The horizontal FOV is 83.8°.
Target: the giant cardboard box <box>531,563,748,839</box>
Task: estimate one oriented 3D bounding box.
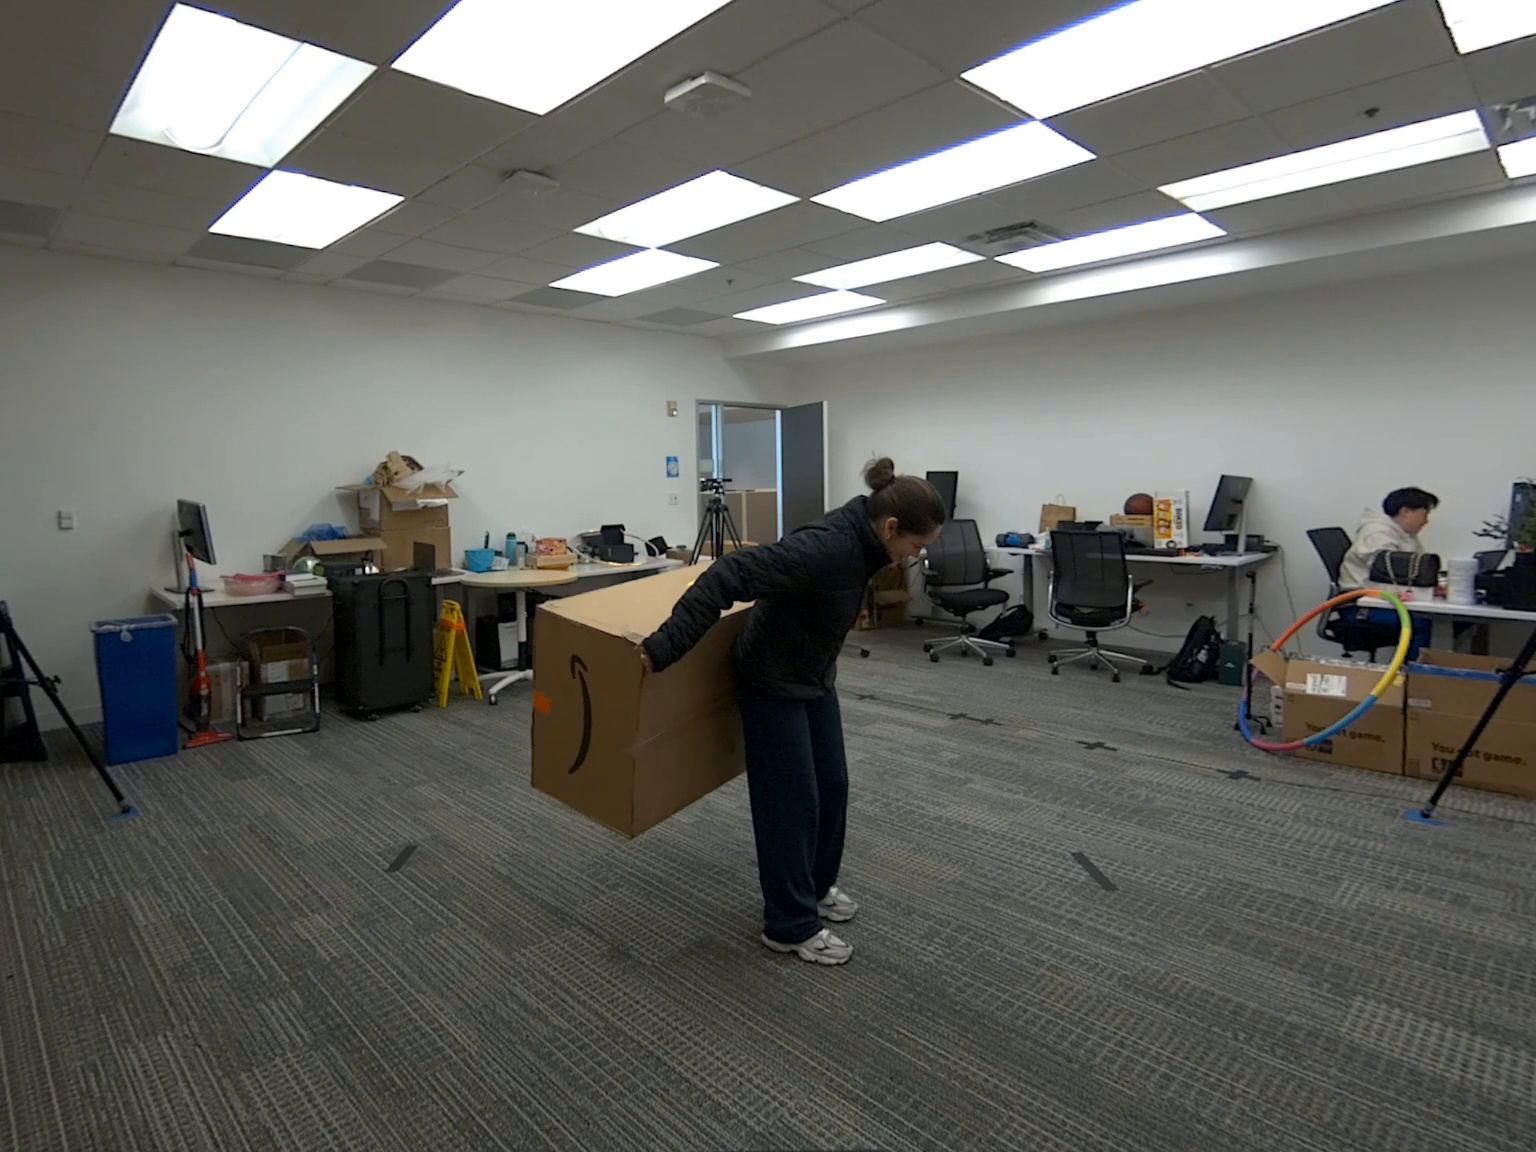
[{"bbox_3d":[-0.237,0.326,2.814,0.440,0.571,1.004,14,17,33],"label":"giant cardboard box"}]
